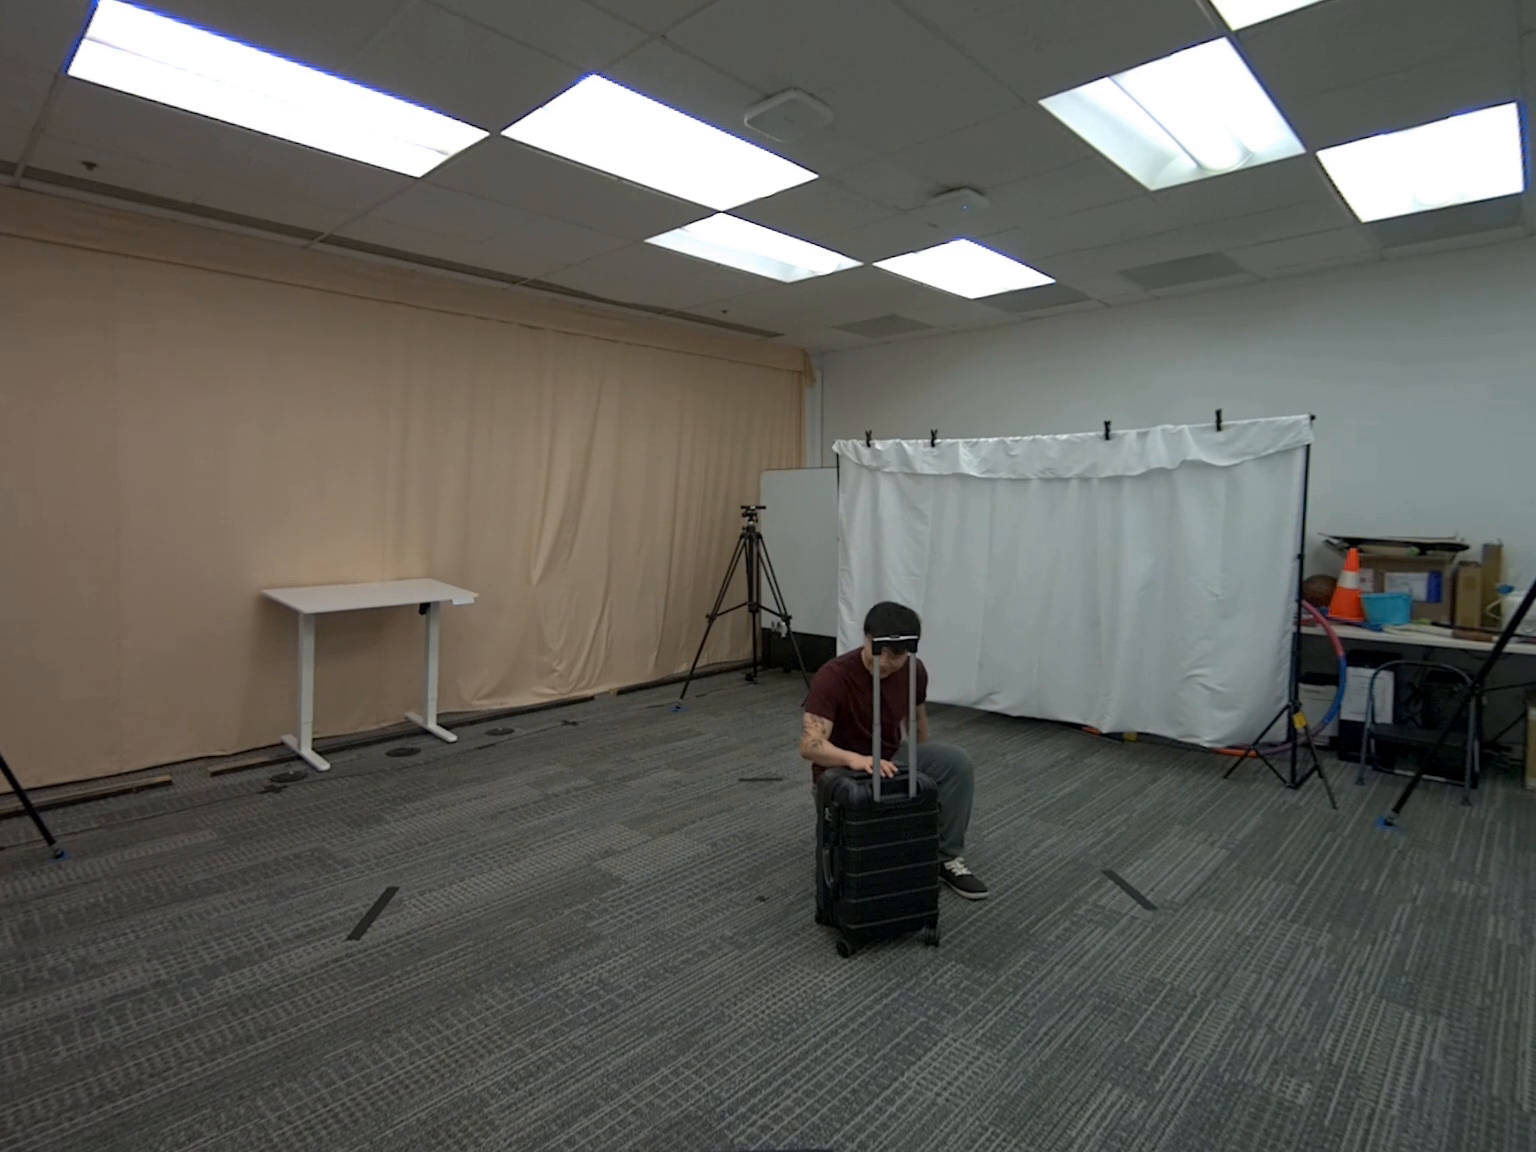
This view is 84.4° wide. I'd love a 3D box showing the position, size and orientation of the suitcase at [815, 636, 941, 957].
[{"bbox_3d":[0.352,0.684,2.718,0.377,0.977,0.262,0,2,-17],"label":"suitcase"}]
